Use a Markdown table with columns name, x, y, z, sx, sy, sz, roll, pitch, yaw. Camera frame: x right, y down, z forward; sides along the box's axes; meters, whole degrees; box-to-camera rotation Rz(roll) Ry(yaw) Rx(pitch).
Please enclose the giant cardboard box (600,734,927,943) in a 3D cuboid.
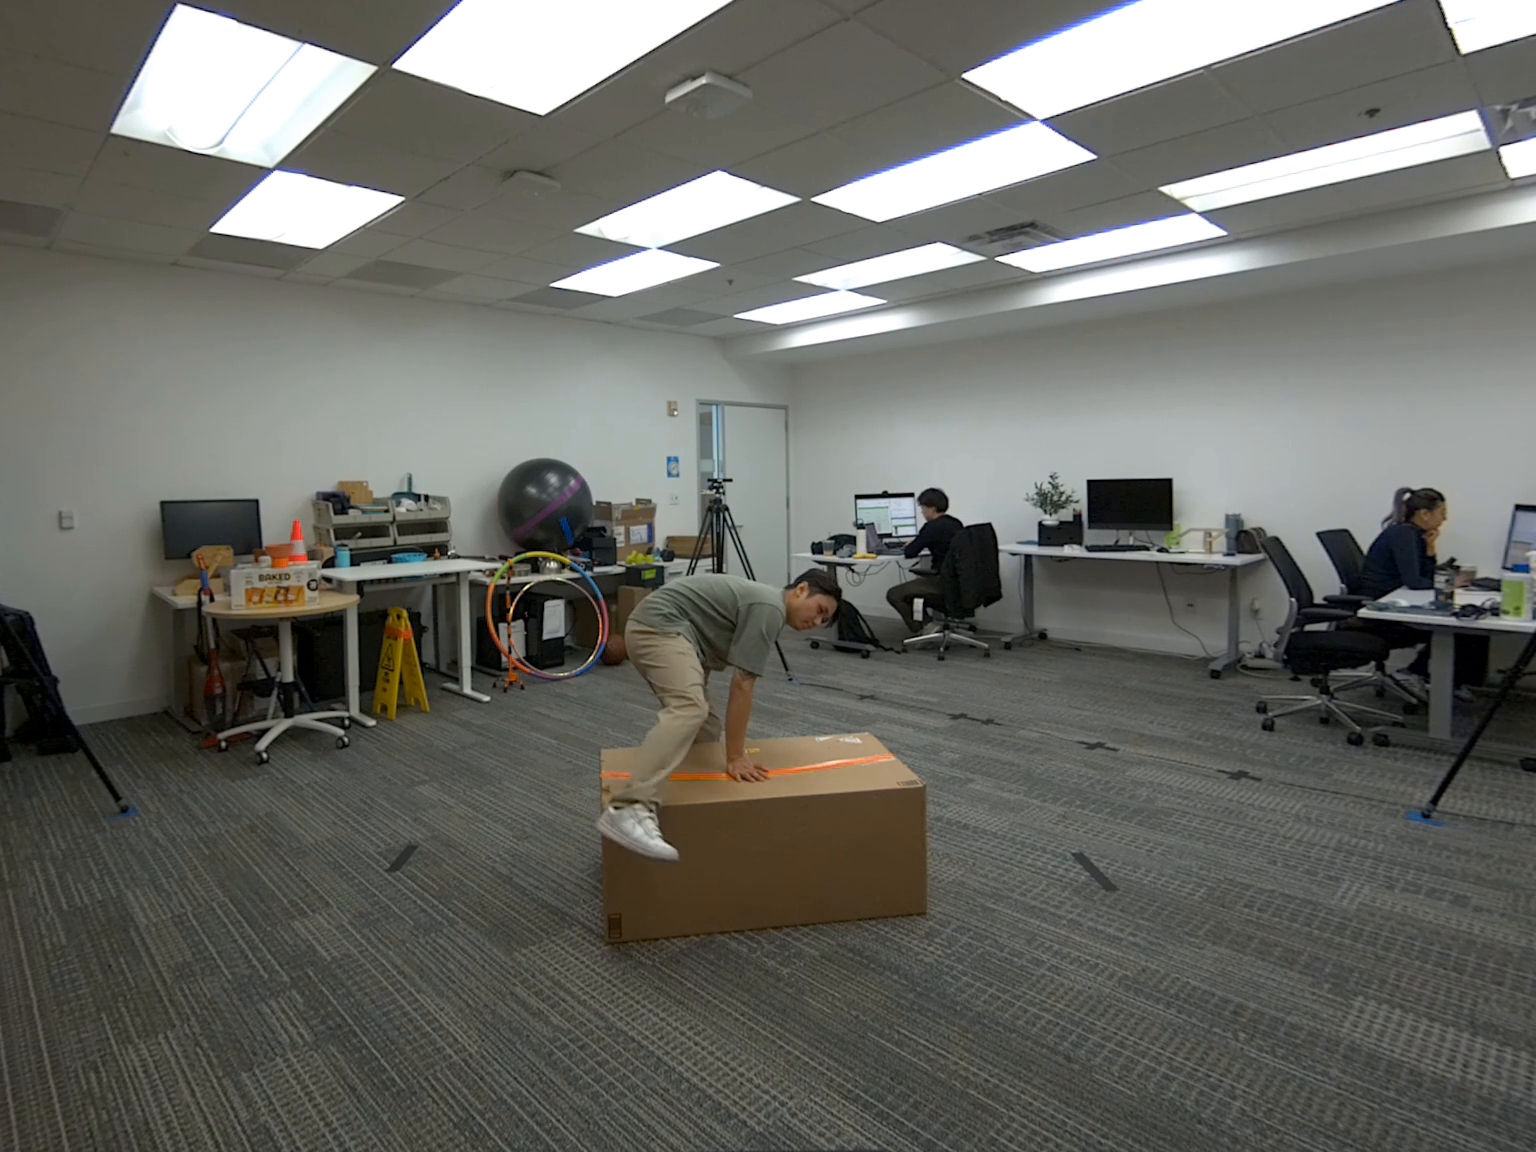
| name | x | y | z | sx | sy | sz | roll | pitch | yaw |
| --- | --- | --- | --- | --- | --- | --- | --- | --- | --- |
| giant cardboard box | -0.051 | 0.859 | 2.914 | 1.018 | 0.424 | 0.584 | -2 | 5 | -9 |
